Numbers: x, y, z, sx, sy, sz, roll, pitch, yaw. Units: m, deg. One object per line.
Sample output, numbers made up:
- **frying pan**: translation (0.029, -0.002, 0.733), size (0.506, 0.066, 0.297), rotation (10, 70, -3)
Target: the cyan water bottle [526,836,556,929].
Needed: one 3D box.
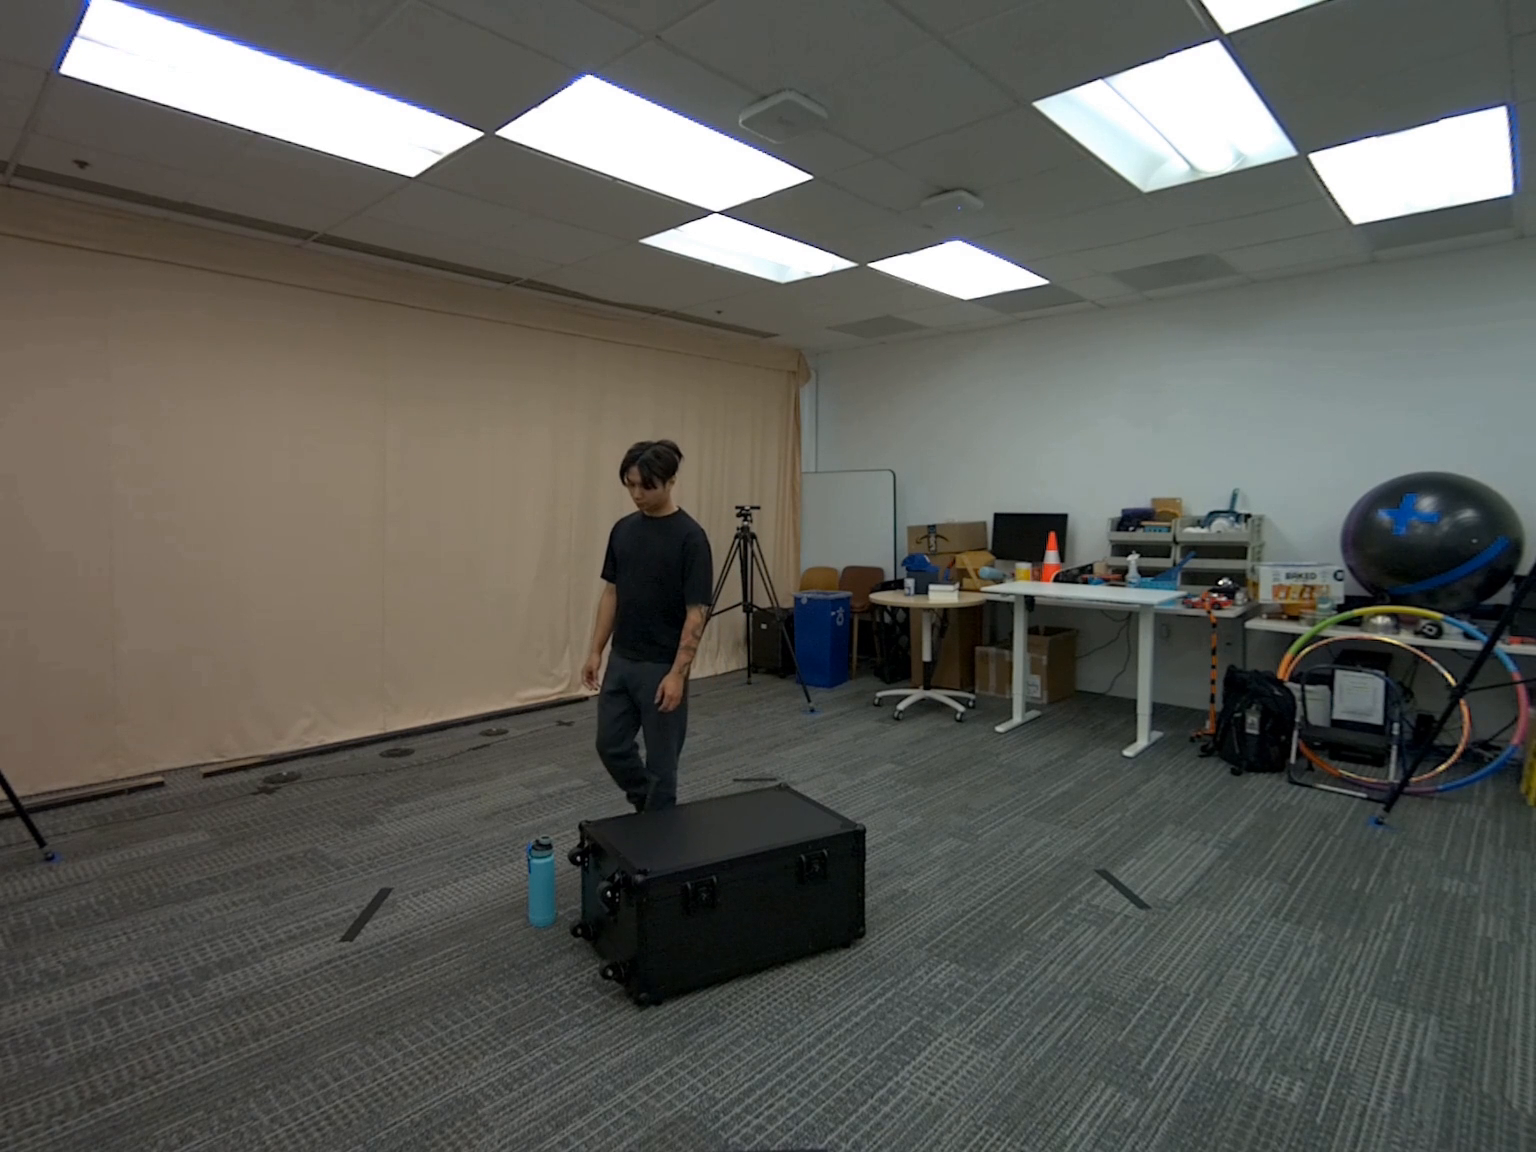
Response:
- **cyan water bottle**: translation (-0.765, 1.020, 2.838), size (0.092, 0.283, 0.092), rotation (-1, 1, -2)
